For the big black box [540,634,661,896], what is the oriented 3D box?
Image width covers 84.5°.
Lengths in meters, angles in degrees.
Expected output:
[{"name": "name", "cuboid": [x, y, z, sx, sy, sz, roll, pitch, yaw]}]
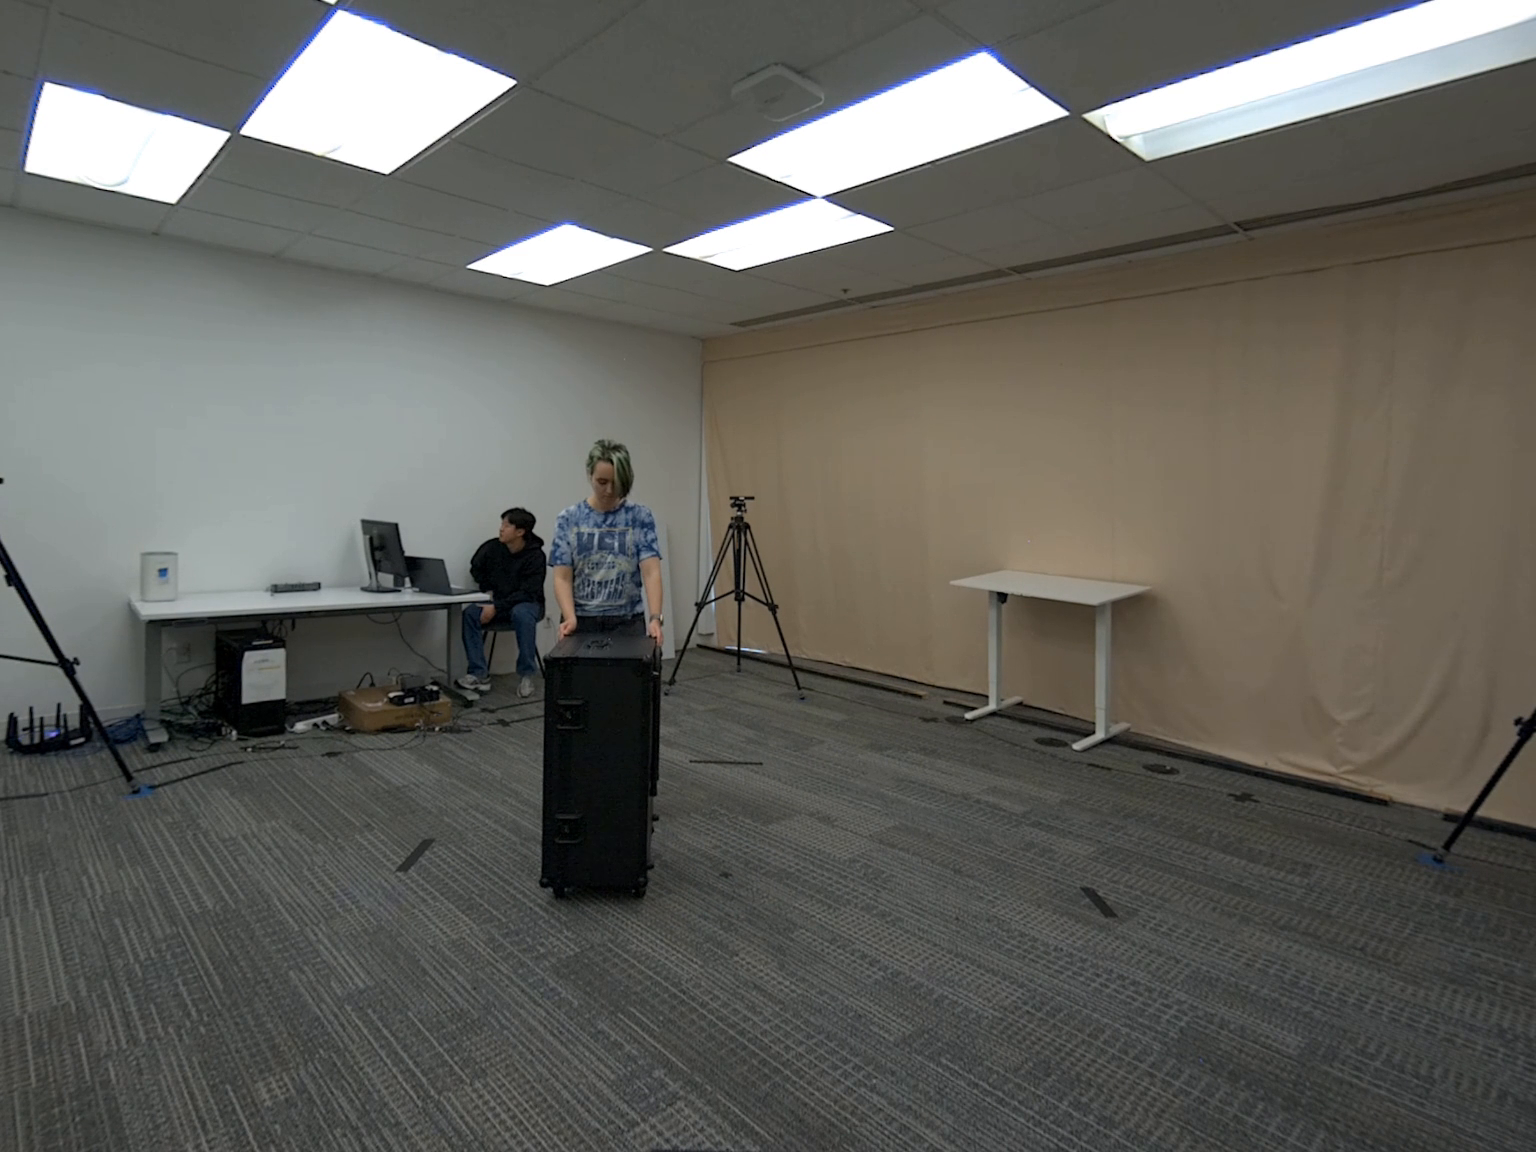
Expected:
[{"name": "big black box", "cuboid": [-0.594, 0.681, 3.051, 0.395, 0.860, 0.524, 2, 3, -5]}]
